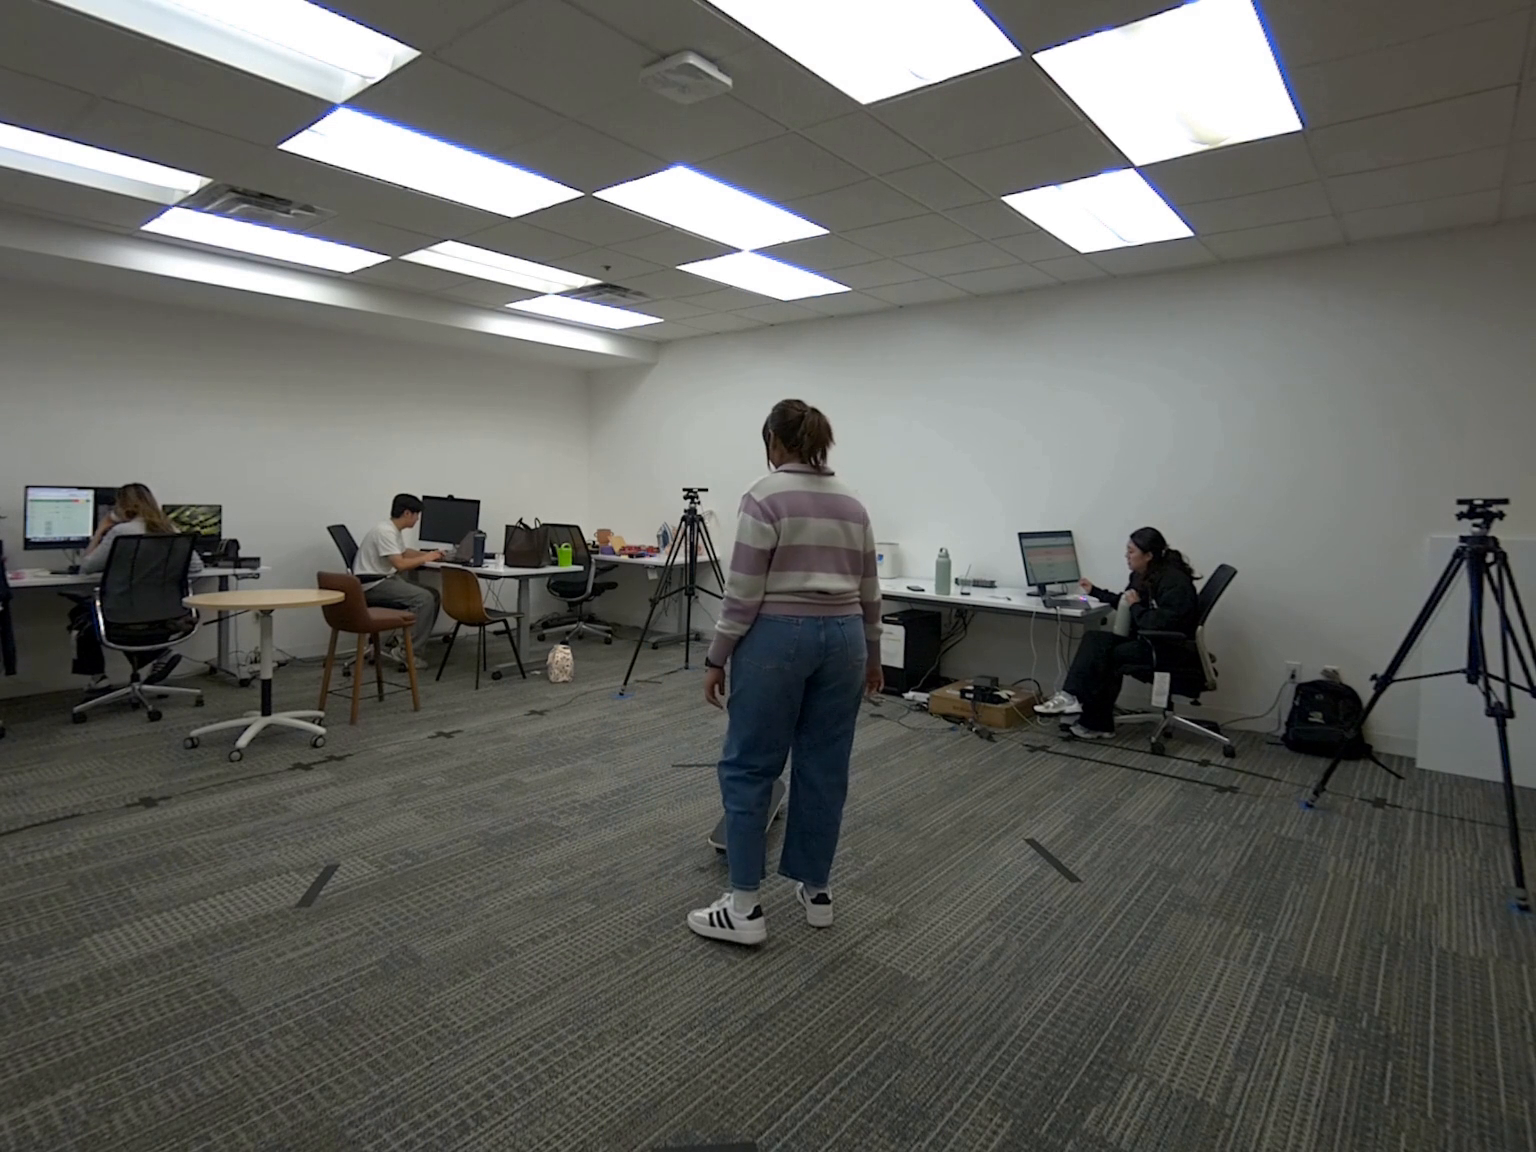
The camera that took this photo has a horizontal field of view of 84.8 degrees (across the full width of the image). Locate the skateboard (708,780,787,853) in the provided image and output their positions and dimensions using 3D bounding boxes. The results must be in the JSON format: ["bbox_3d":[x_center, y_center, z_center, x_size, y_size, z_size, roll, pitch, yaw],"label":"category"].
[{"bbox_3d":[-0.075,0.978,3.431,0.196,0.110,0.777,2,6,11],"label":"skateboard"}]
